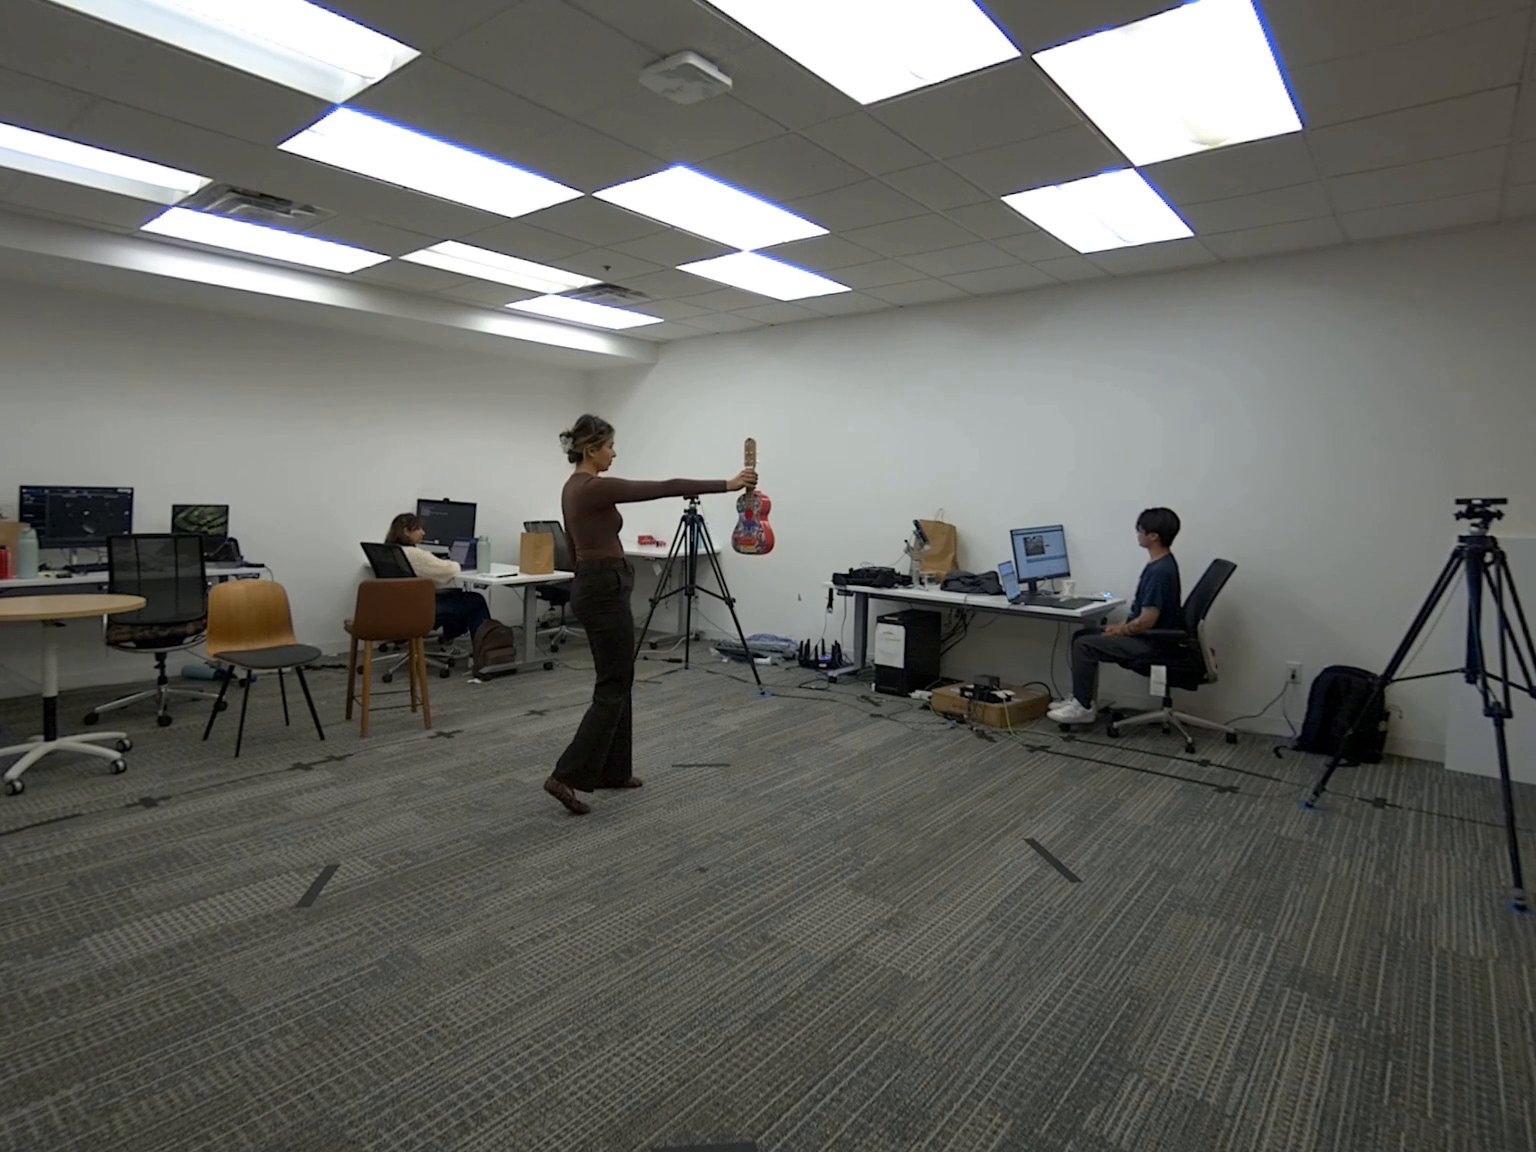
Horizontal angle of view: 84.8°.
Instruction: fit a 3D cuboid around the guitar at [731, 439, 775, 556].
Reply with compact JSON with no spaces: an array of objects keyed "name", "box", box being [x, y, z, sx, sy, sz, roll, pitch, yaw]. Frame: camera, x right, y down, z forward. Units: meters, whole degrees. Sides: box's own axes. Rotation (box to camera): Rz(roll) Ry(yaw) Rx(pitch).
[{"name":"guitar","box":[-0.054,-0.337,3.640,0.200,0.495,0.068,12,7,38]}]
